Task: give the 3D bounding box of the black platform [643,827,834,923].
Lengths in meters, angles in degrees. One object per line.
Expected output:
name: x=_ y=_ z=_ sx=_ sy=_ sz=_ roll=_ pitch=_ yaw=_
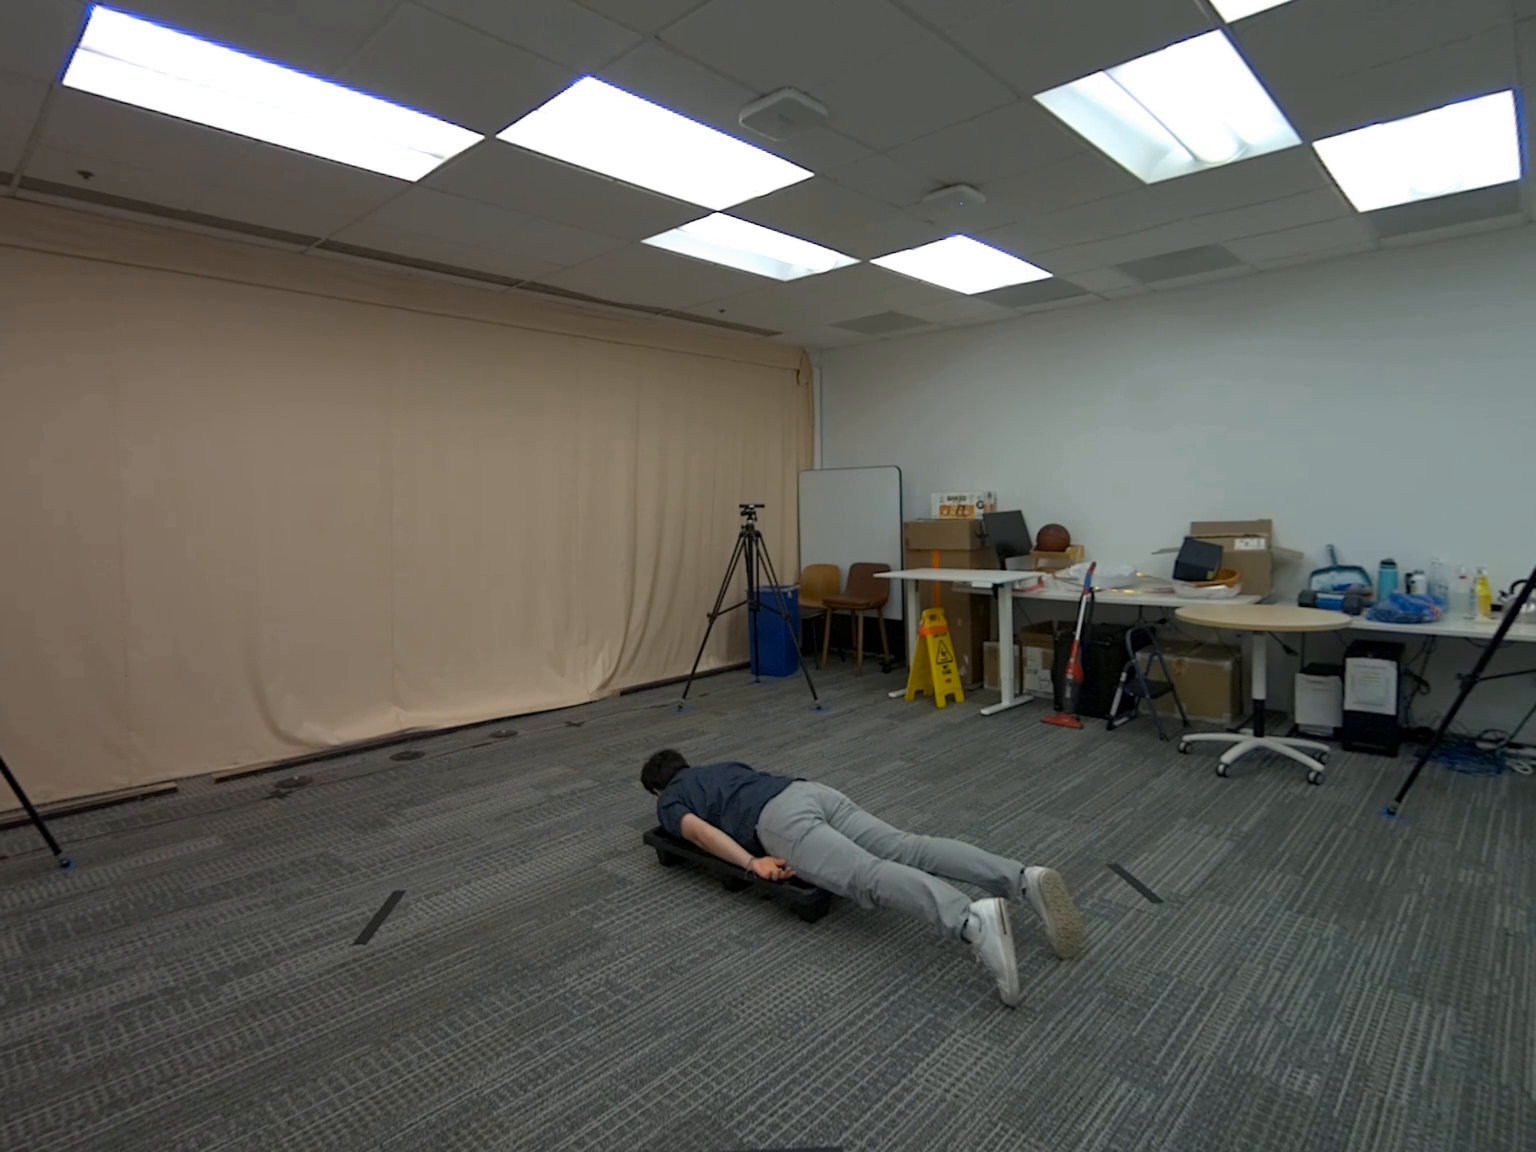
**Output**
black platform: x=0.017 y=1.060 z=3.206 sx=0.832 sy=0.143 sz=0.587 roll=3 pitch=6 yaw=40
